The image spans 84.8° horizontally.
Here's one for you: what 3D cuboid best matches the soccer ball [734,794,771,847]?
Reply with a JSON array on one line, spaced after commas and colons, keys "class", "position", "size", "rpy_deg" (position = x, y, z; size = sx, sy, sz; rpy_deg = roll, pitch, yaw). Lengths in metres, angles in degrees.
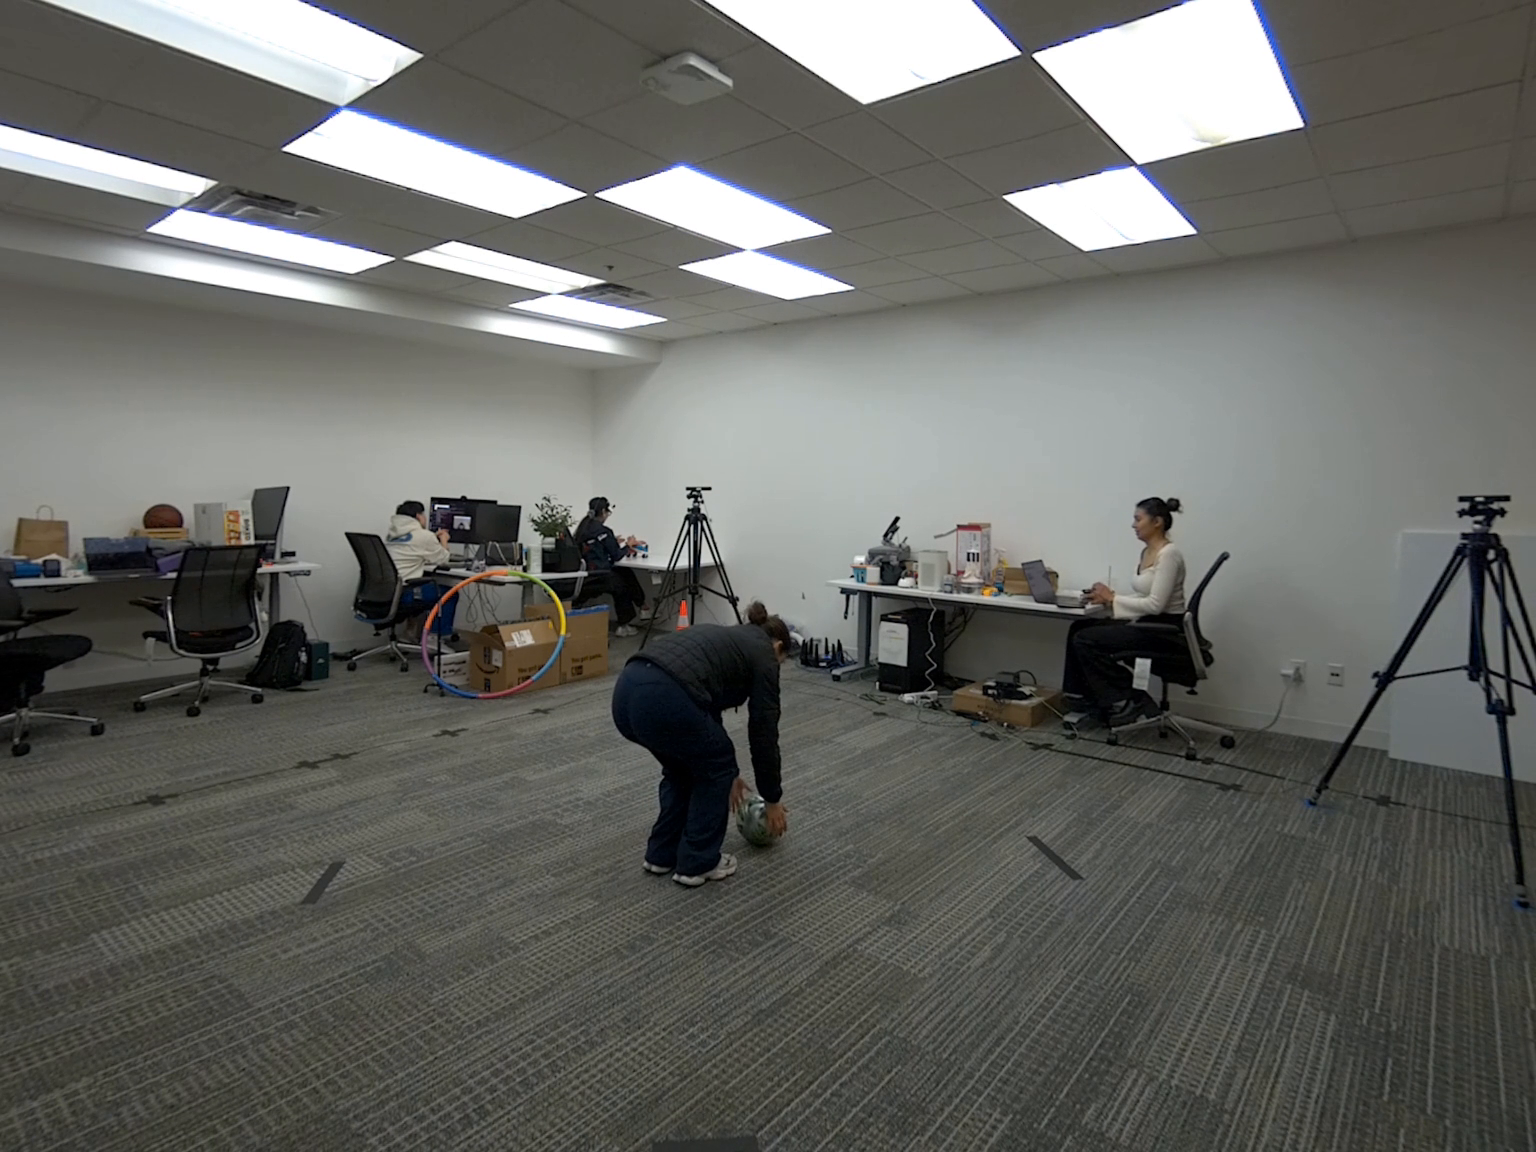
[{"class": "soccer ball", "position": [-0.036, 0.950, 3.326], "size": [0.187, 0.187, 0.188], "rpy_deg": [1, 4, -2]}]
